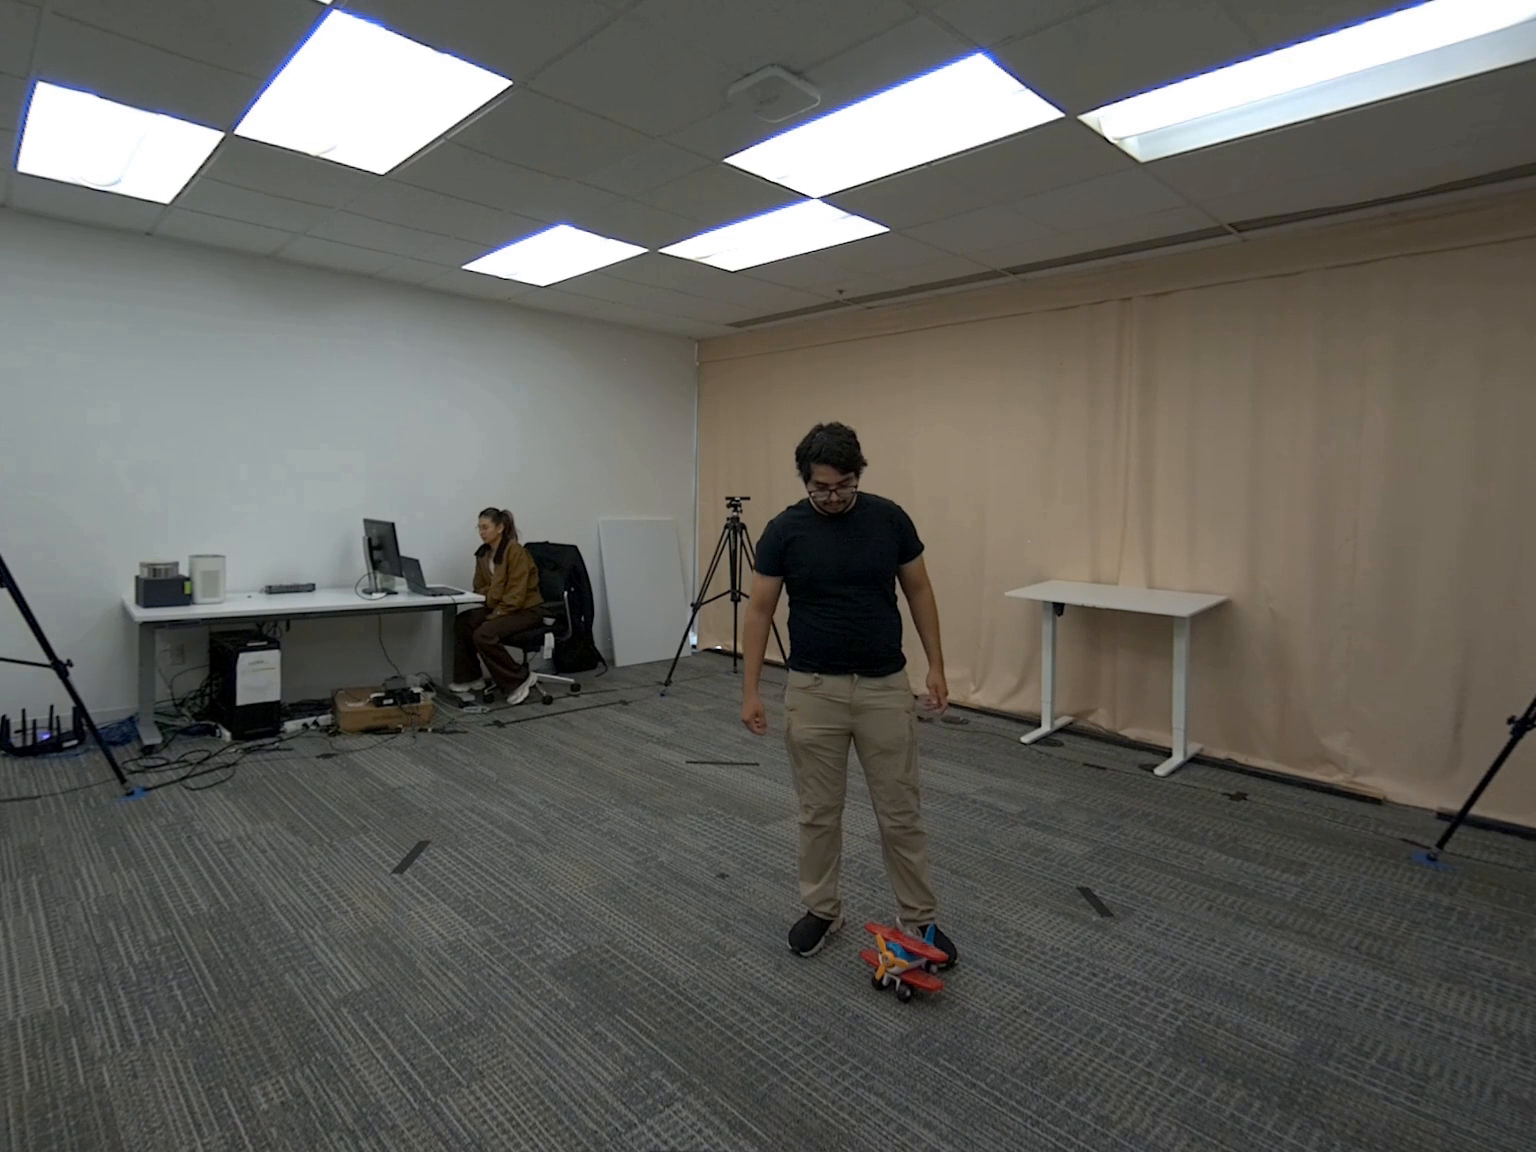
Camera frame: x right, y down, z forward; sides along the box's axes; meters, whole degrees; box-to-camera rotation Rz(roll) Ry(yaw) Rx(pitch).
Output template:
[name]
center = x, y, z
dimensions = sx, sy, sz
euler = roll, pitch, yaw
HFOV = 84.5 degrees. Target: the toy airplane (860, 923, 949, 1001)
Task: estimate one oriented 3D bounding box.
[toy airplane]
center = 0.387, 1.107, 2.446
dimensions = 0.254, 0.156, 0.257
euler = 3, 6, 14
